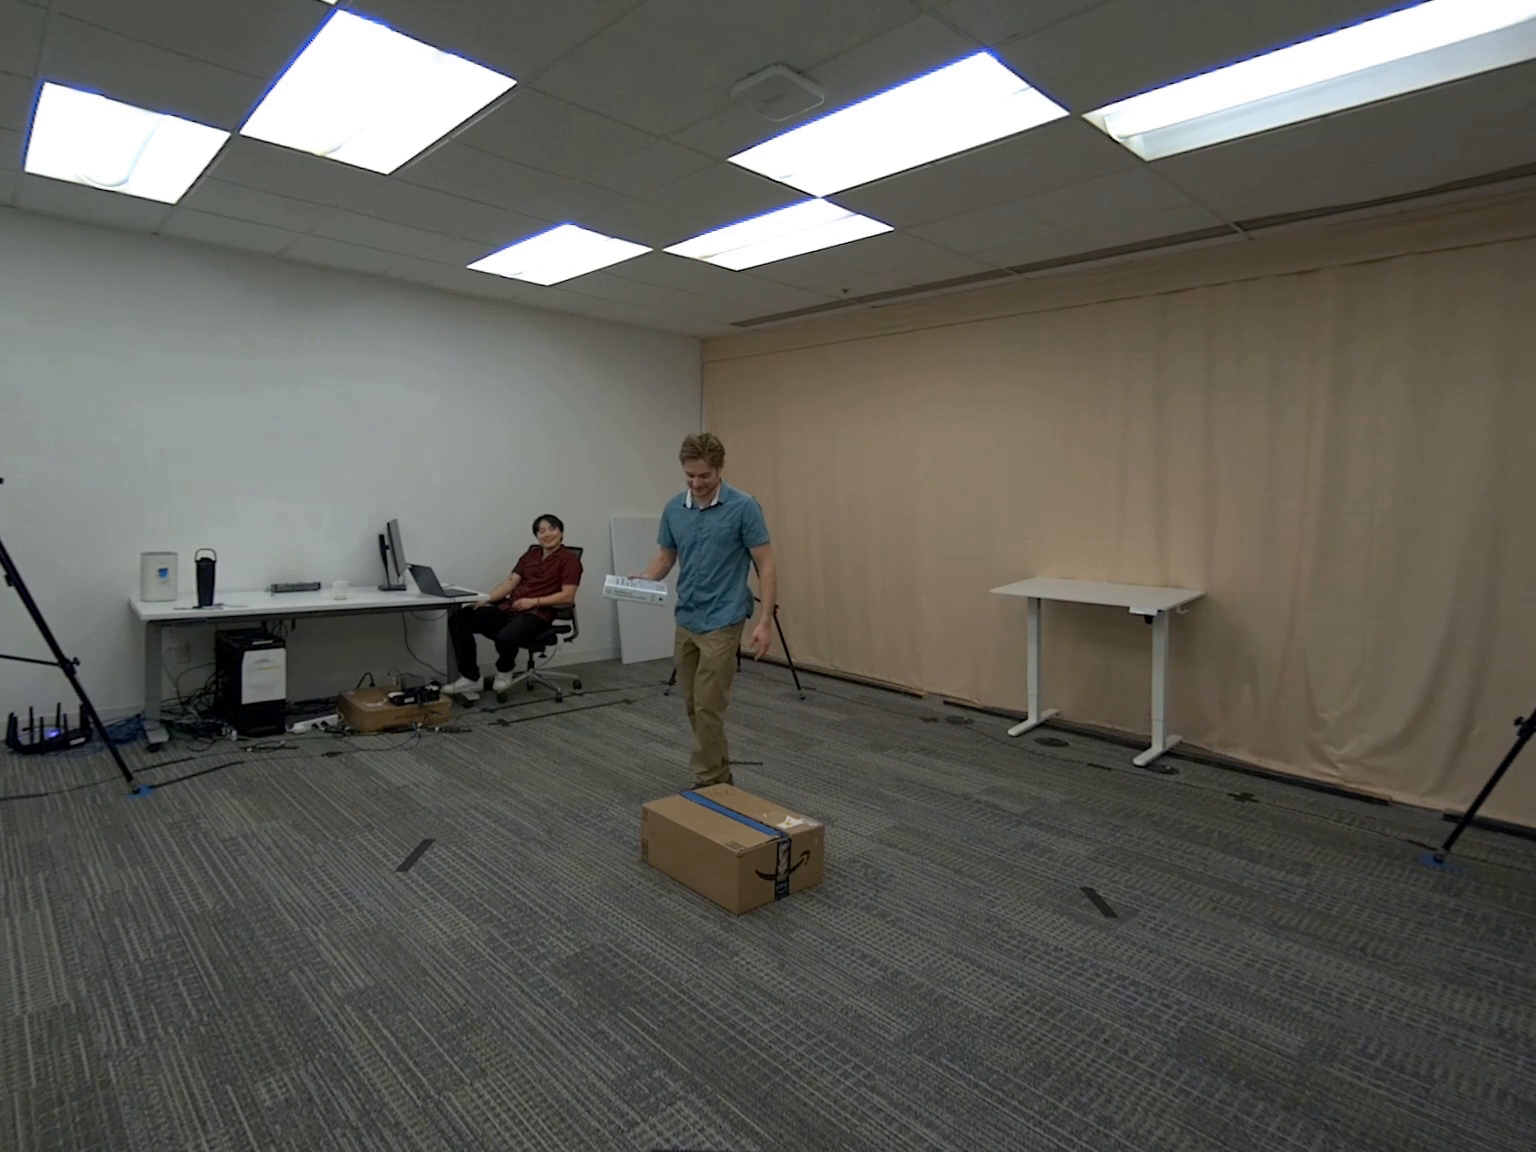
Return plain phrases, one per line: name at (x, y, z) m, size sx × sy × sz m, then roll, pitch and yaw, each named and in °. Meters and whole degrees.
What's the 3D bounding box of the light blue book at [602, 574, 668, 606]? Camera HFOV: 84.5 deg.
light blue book at (-0.580, 0.062, 3.585) m, size 0.259 × 0.059 × 0.194 m, roll 8°, pitch 10°, yaw -8°
